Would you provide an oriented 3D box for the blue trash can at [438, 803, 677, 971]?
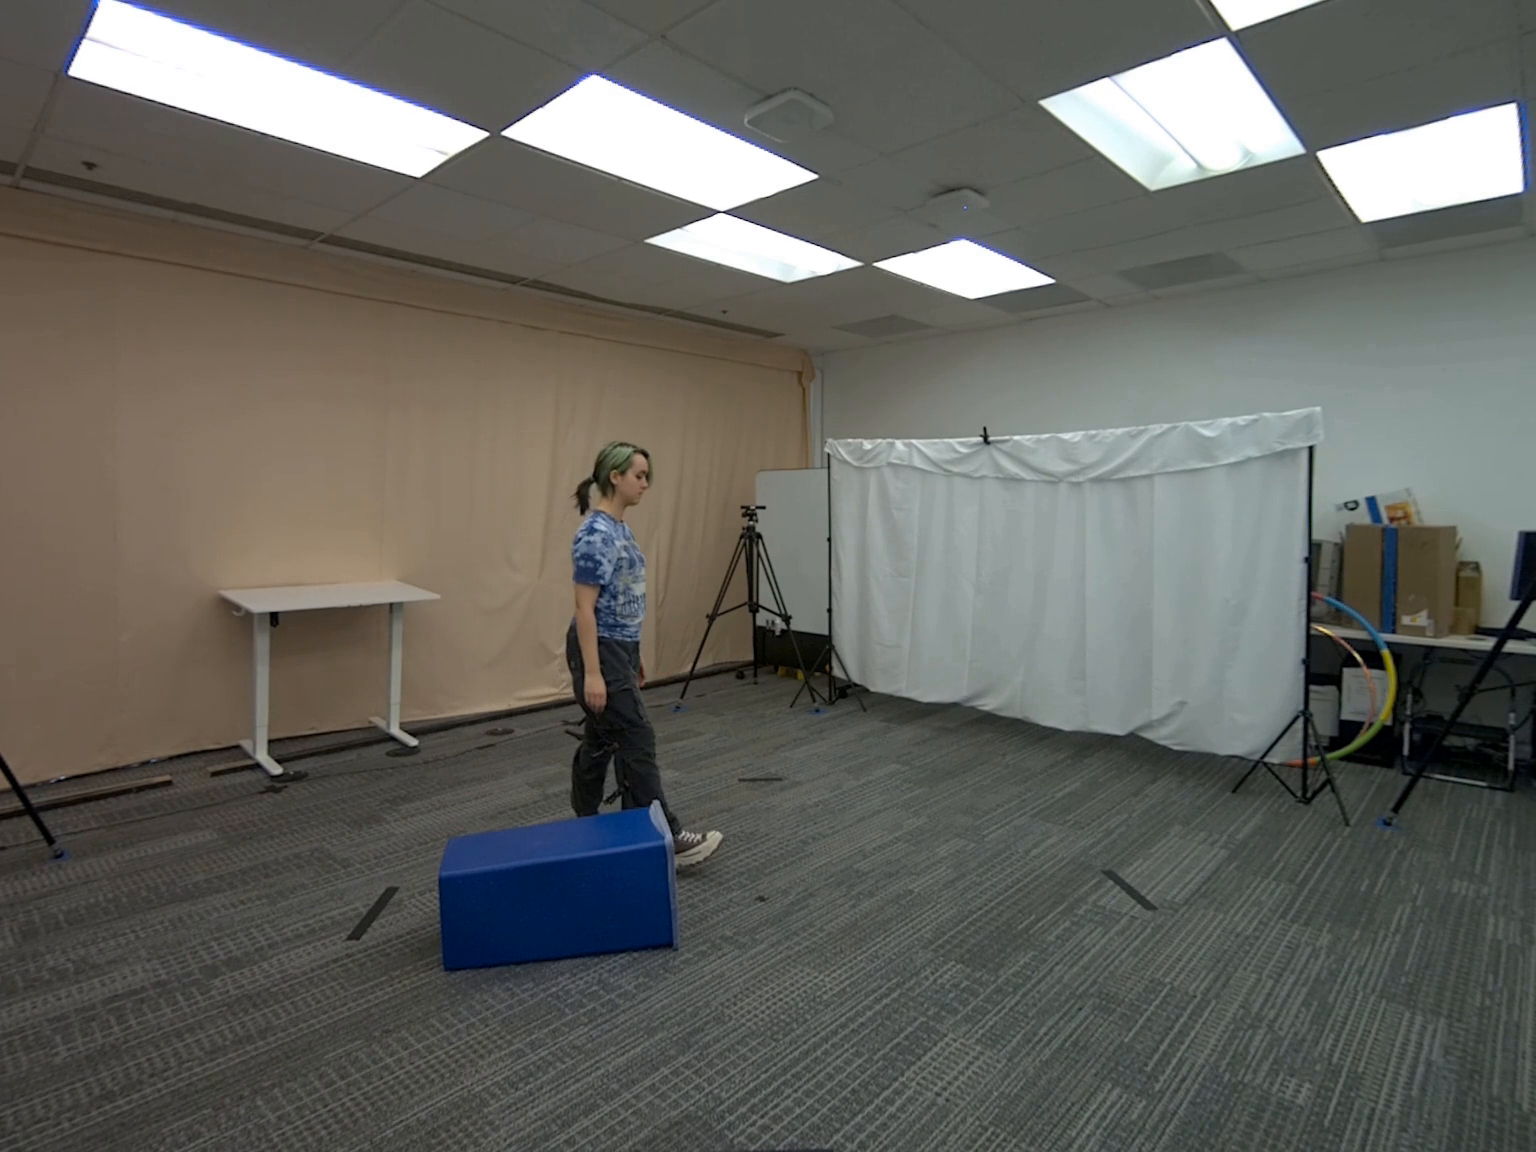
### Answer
[{"bbox_3d":[-0.670,0.997,2.721,0.704,0.373,0.384,-3,4,-13],"label":"blue trash can"}]
